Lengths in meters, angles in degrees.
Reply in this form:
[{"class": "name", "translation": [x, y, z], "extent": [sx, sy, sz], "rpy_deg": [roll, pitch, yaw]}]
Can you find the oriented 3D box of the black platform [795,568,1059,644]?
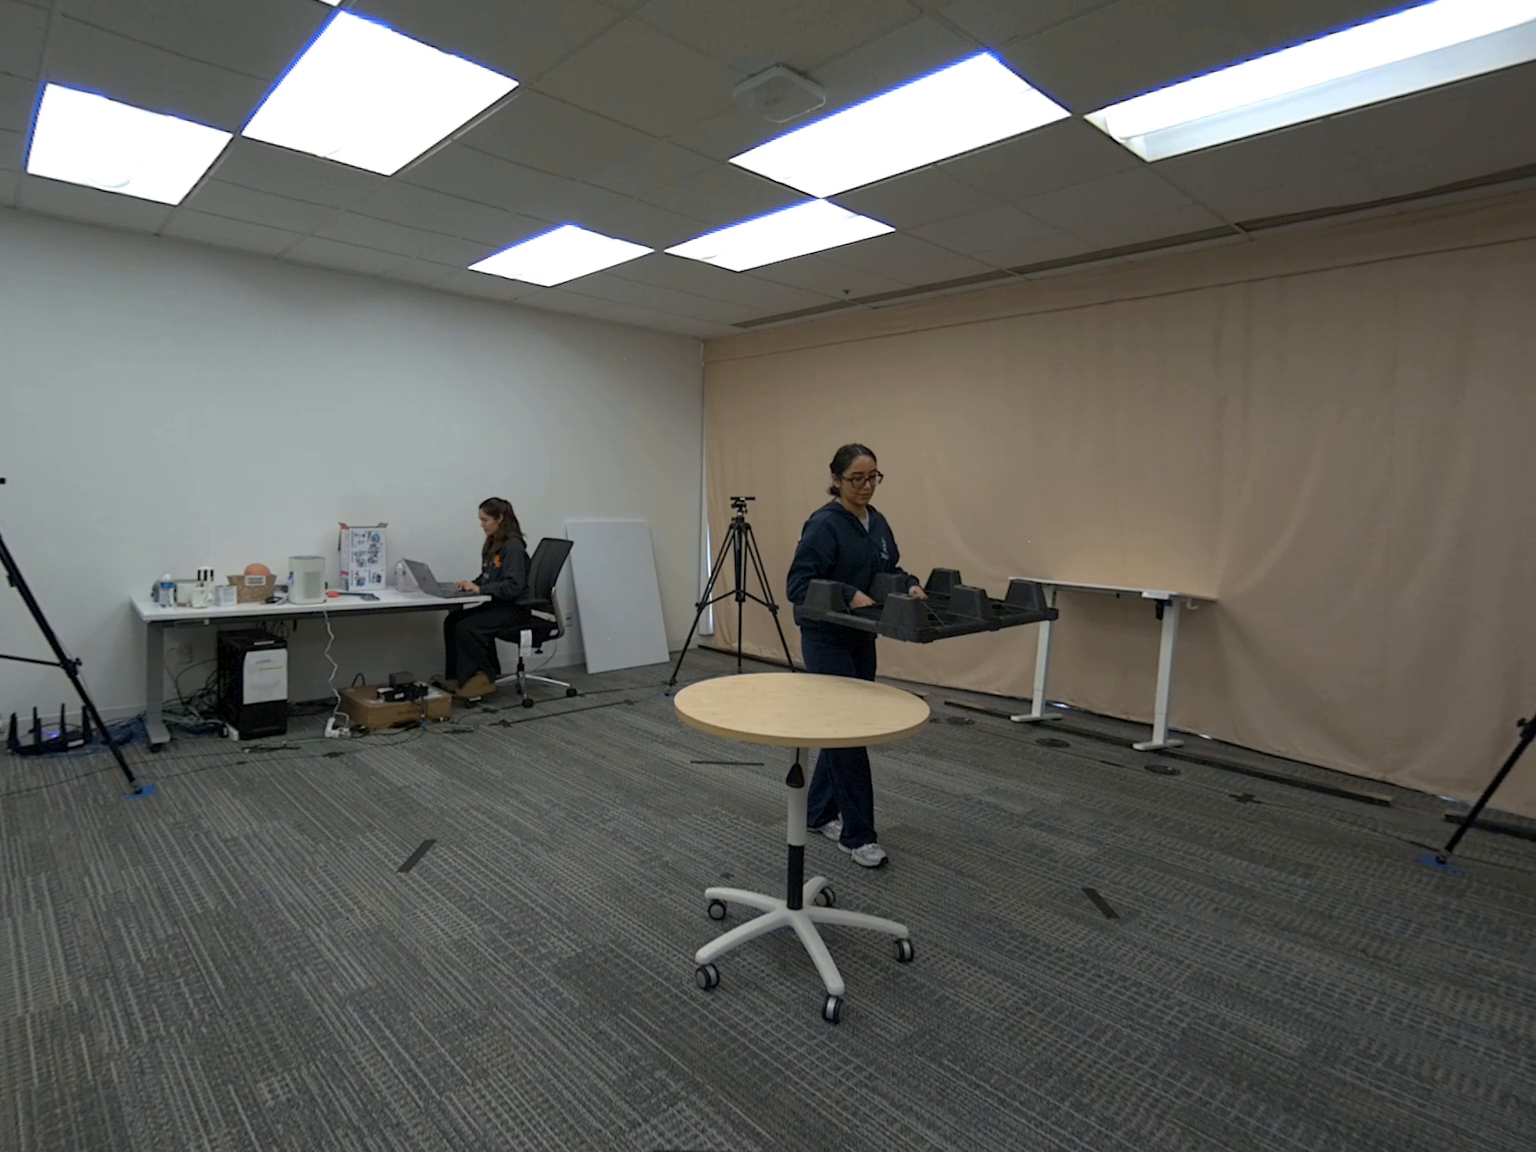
[{"class": "black platform", "translation": [0.581, 0.084, 3.075], "extent": [0.788, 0.142, 0.621], "rpy_deg": [-5, 10, -39]}]
